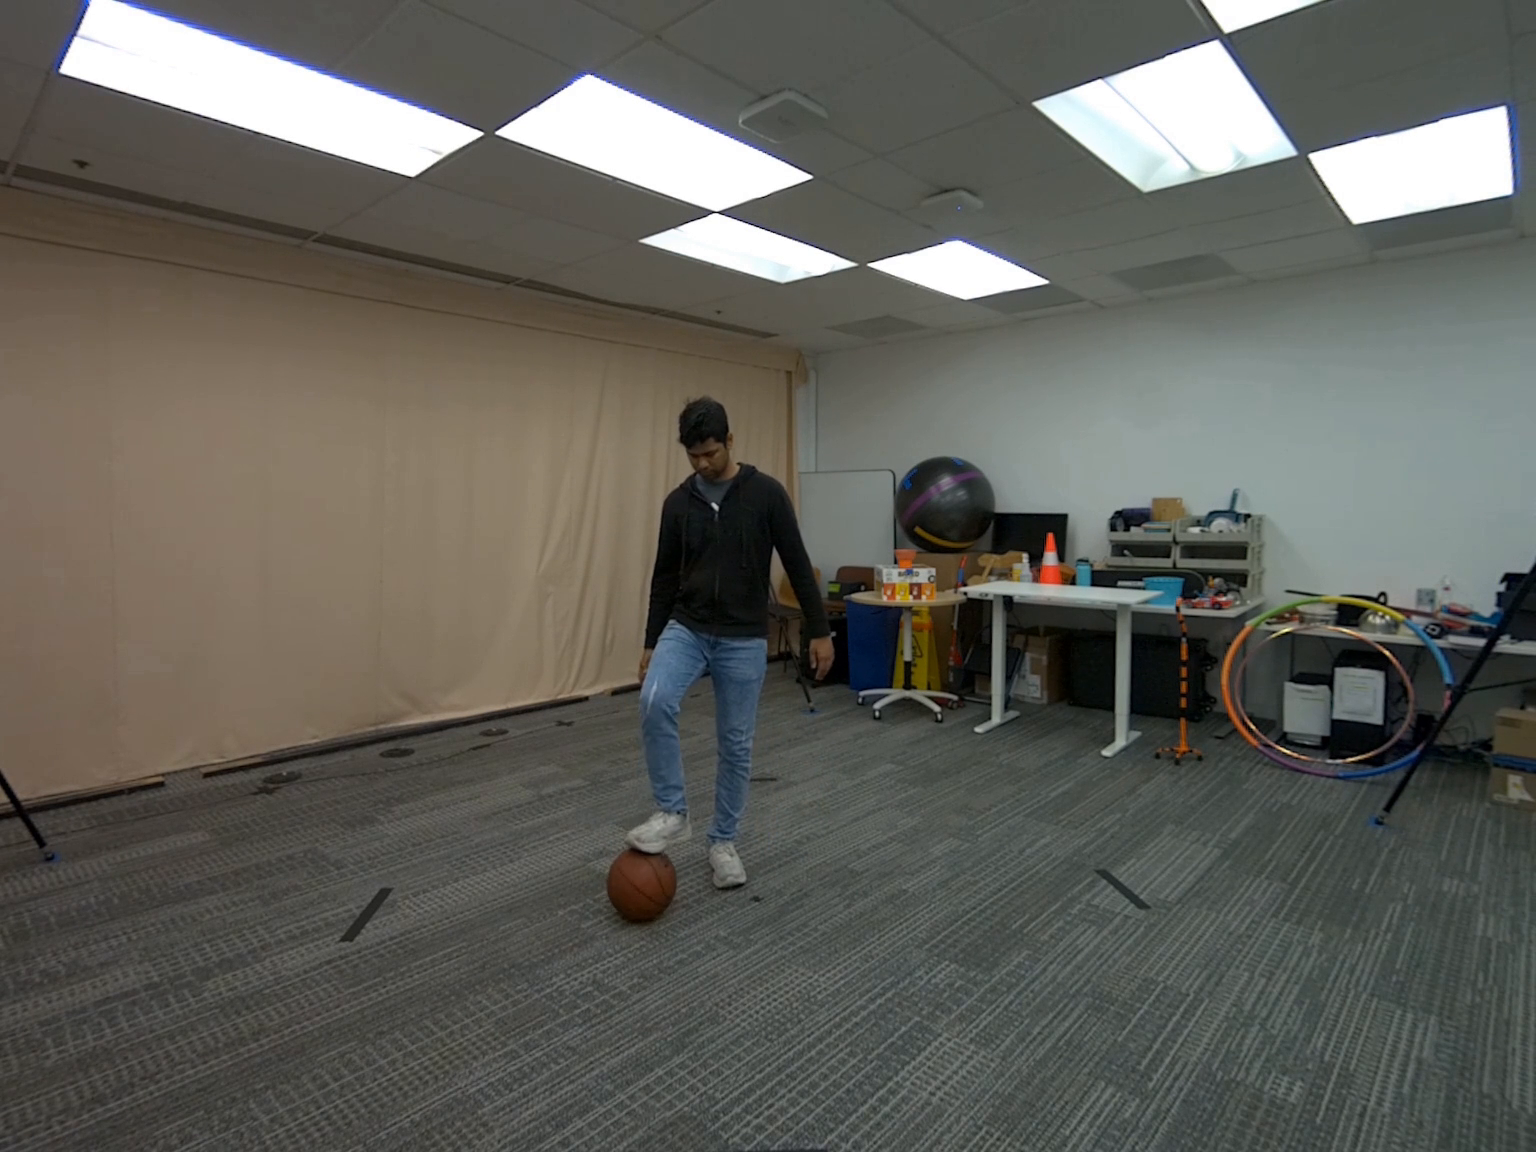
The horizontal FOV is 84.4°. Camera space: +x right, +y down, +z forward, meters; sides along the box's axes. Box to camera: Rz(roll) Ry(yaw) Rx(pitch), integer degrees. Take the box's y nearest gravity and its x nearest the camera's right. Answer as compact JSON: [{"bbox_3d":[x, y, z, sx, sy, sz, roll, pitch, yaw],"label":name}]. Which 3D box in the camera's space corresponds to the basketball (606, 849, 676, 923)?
[{"bbox_3d":[-0.426,1.039,2.858,0.236,0.235,0.237,0,4,-2],"label":"basketball"}]
